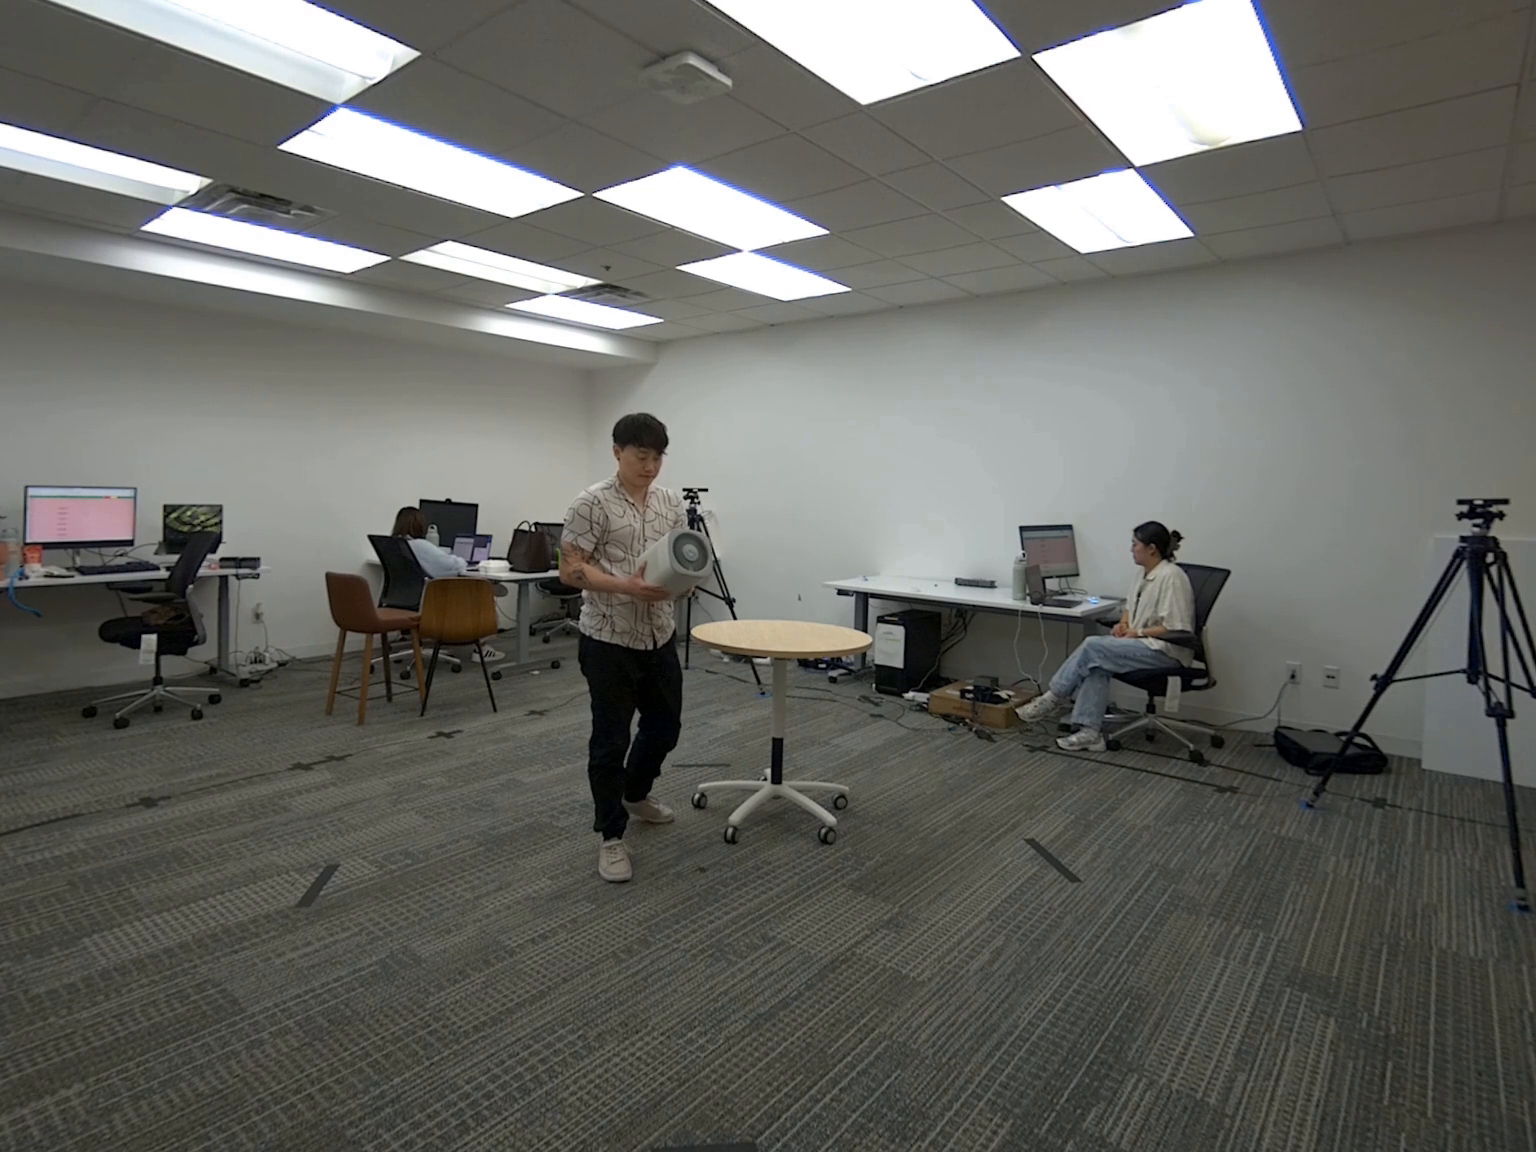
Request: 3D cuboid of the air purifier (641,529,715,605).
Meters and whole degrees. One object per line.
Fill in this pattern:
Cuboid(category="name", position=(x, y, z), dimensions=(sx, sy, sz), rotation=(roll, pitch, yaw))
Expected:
Cuboid(category="air purifier", position=(-0.338, -0.033, 2.953), dimensions=(0.165, 0.175, 0.268), rotation=(10, -26, -33))
